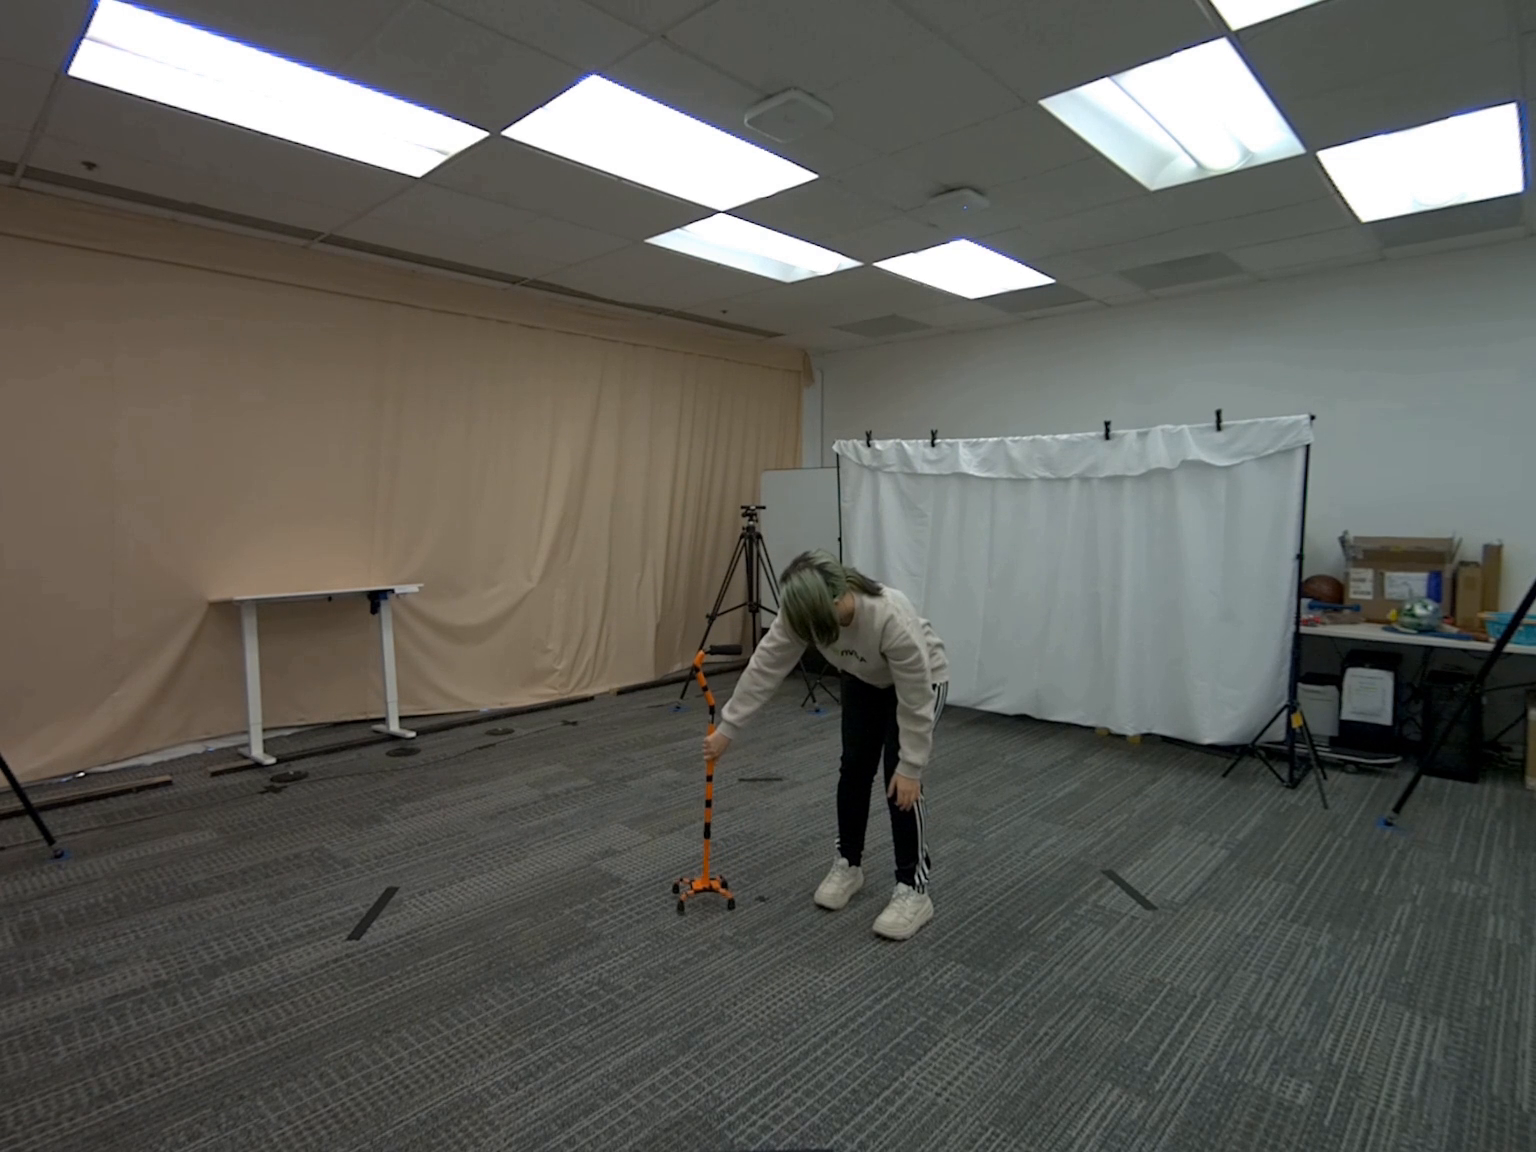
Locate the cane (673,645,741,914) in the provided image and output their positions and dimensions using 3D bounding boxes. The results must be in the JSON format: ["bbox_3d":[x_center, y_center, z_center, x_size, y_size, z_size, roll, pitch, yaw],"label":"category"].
[{"bbox_3d":[-0.209,0.691,2.892,0.203,0.904,0.154,0,7,-14],"label":"cane"}]
